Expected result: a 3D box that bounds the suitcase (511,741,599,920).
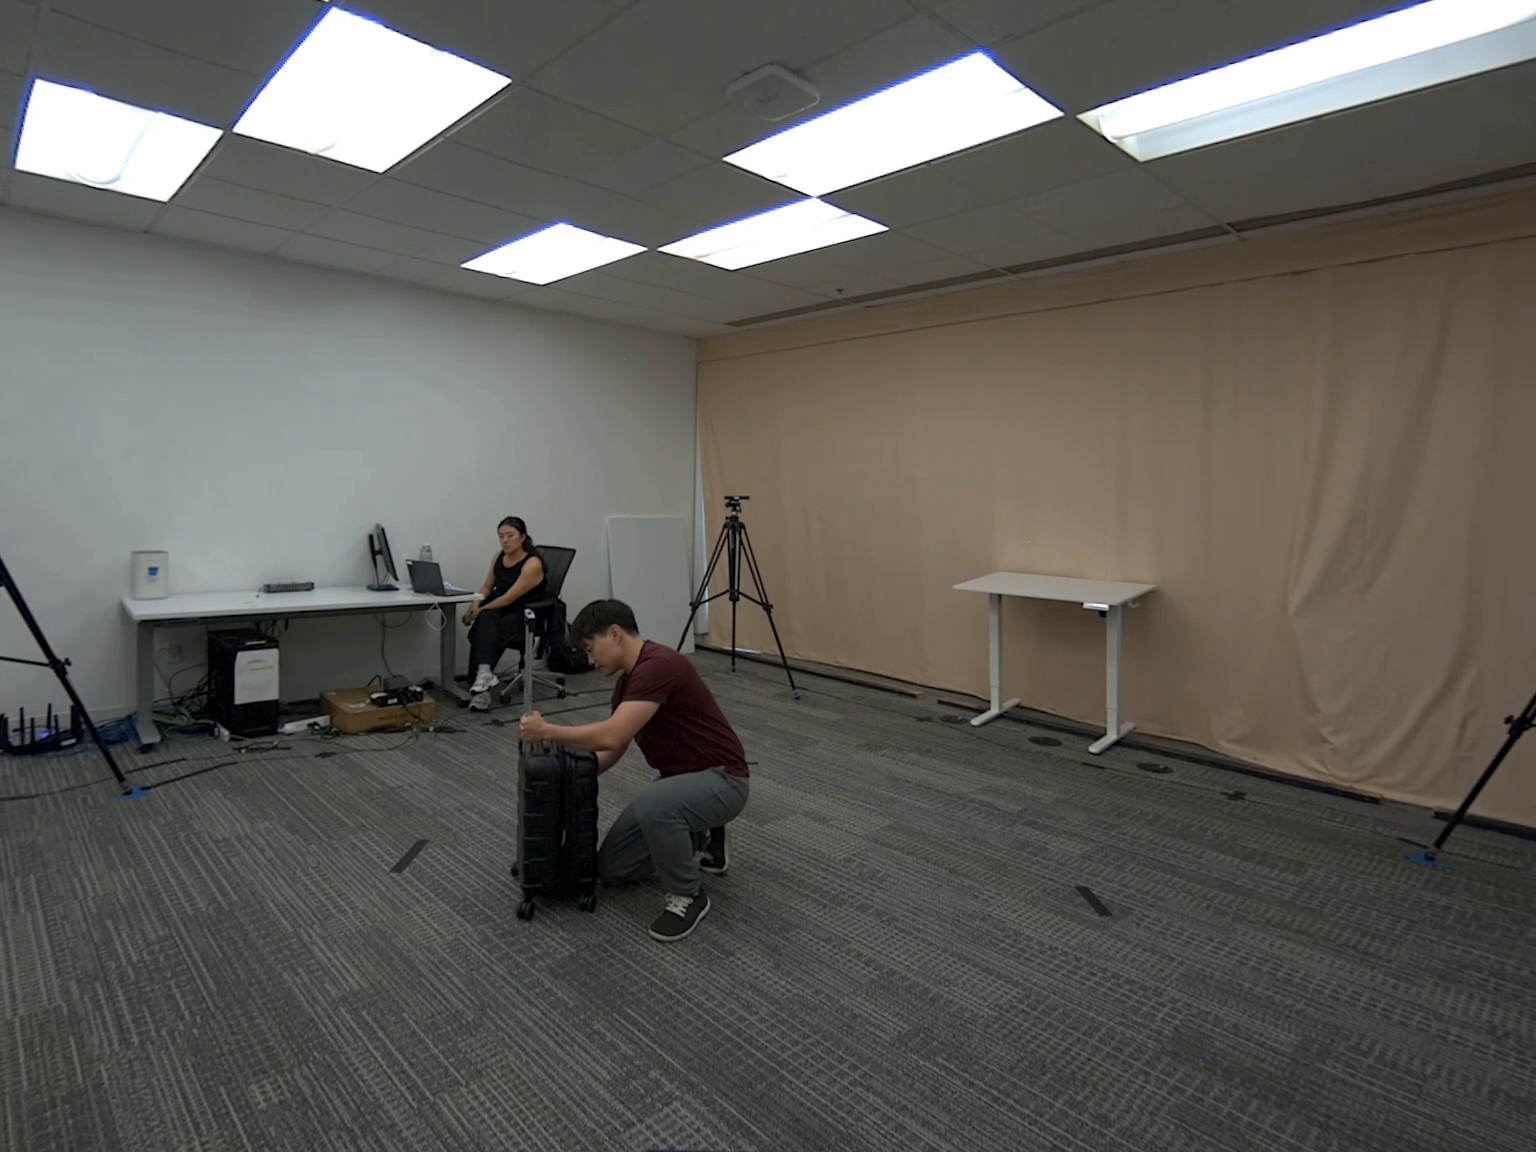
[{"bbox_3d":[-0.725,0.621,2.908,0.253,0.976,0.390,2,5,-18],"label":"suitcase"}]
